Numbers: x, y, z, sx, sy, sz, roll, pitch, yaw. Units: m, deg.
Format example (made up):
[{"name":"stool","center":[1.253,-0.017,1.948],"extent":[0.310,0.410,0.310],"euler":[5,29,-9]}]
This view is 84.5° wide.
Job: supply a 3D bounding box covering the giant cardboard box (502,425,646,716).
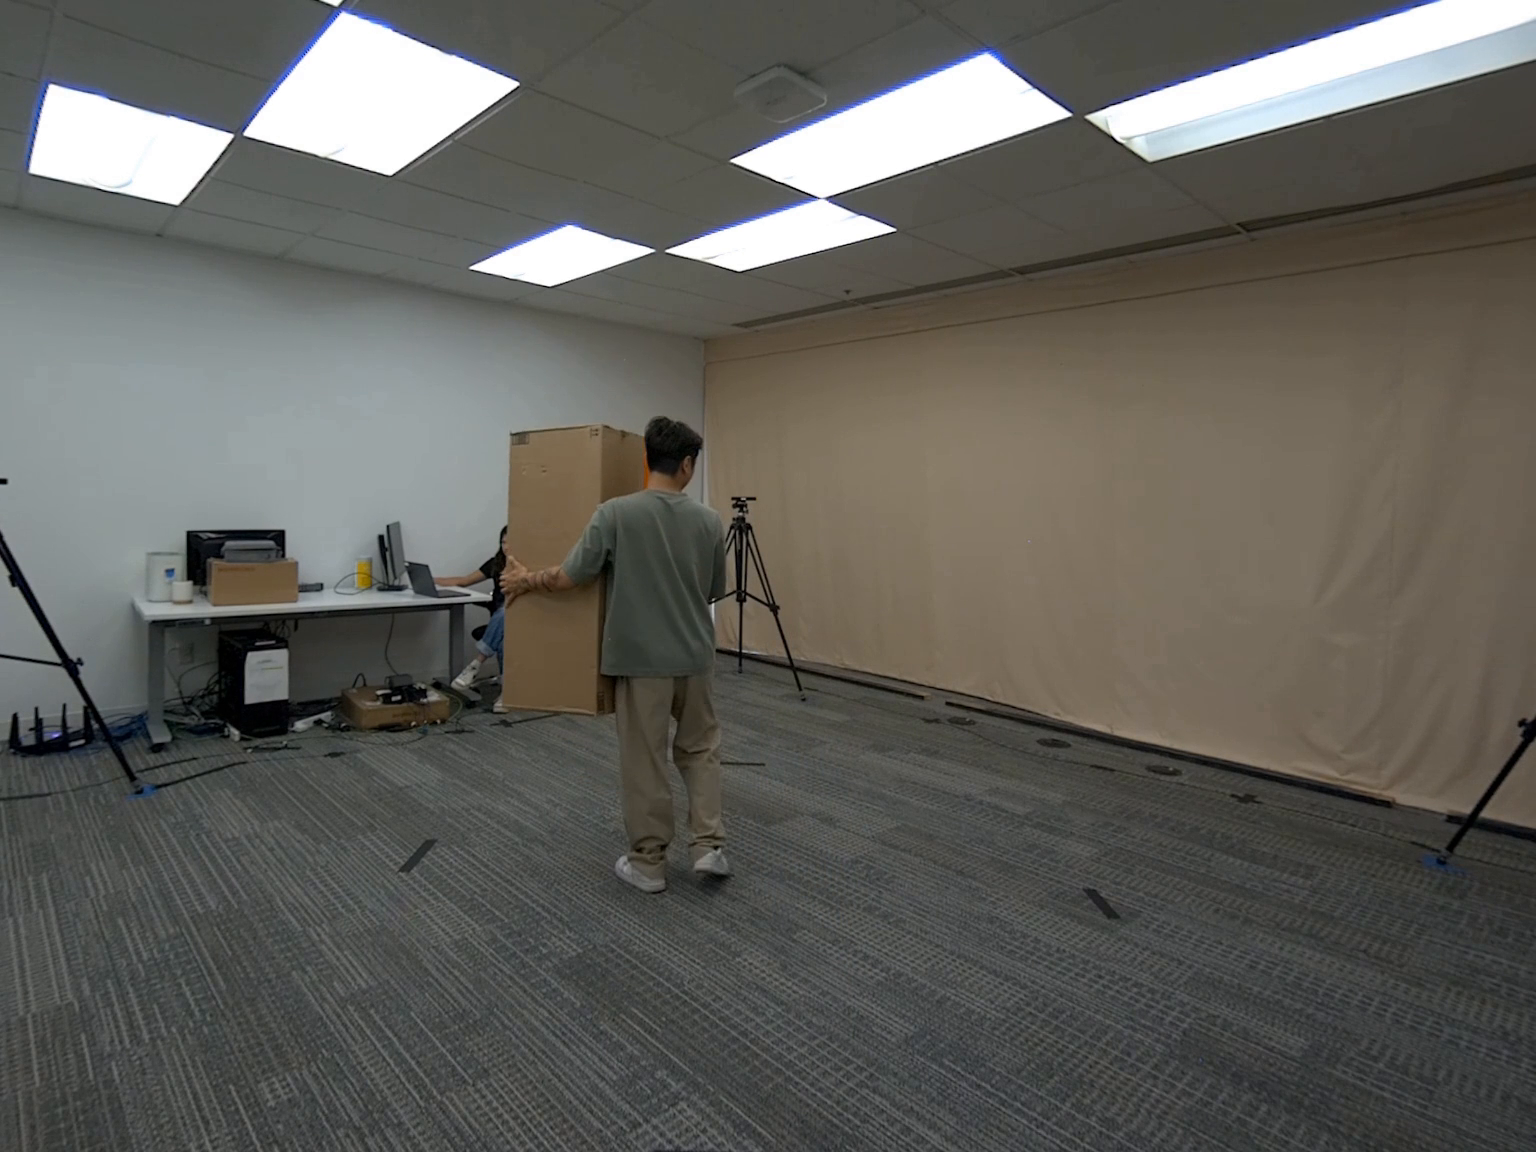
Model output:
[{"name":"giant cardboard box","center":[-0.666,-0.022,3.269],"extent":[0.434,1.028,0.565],"euler":[-1,-3,24]}]
